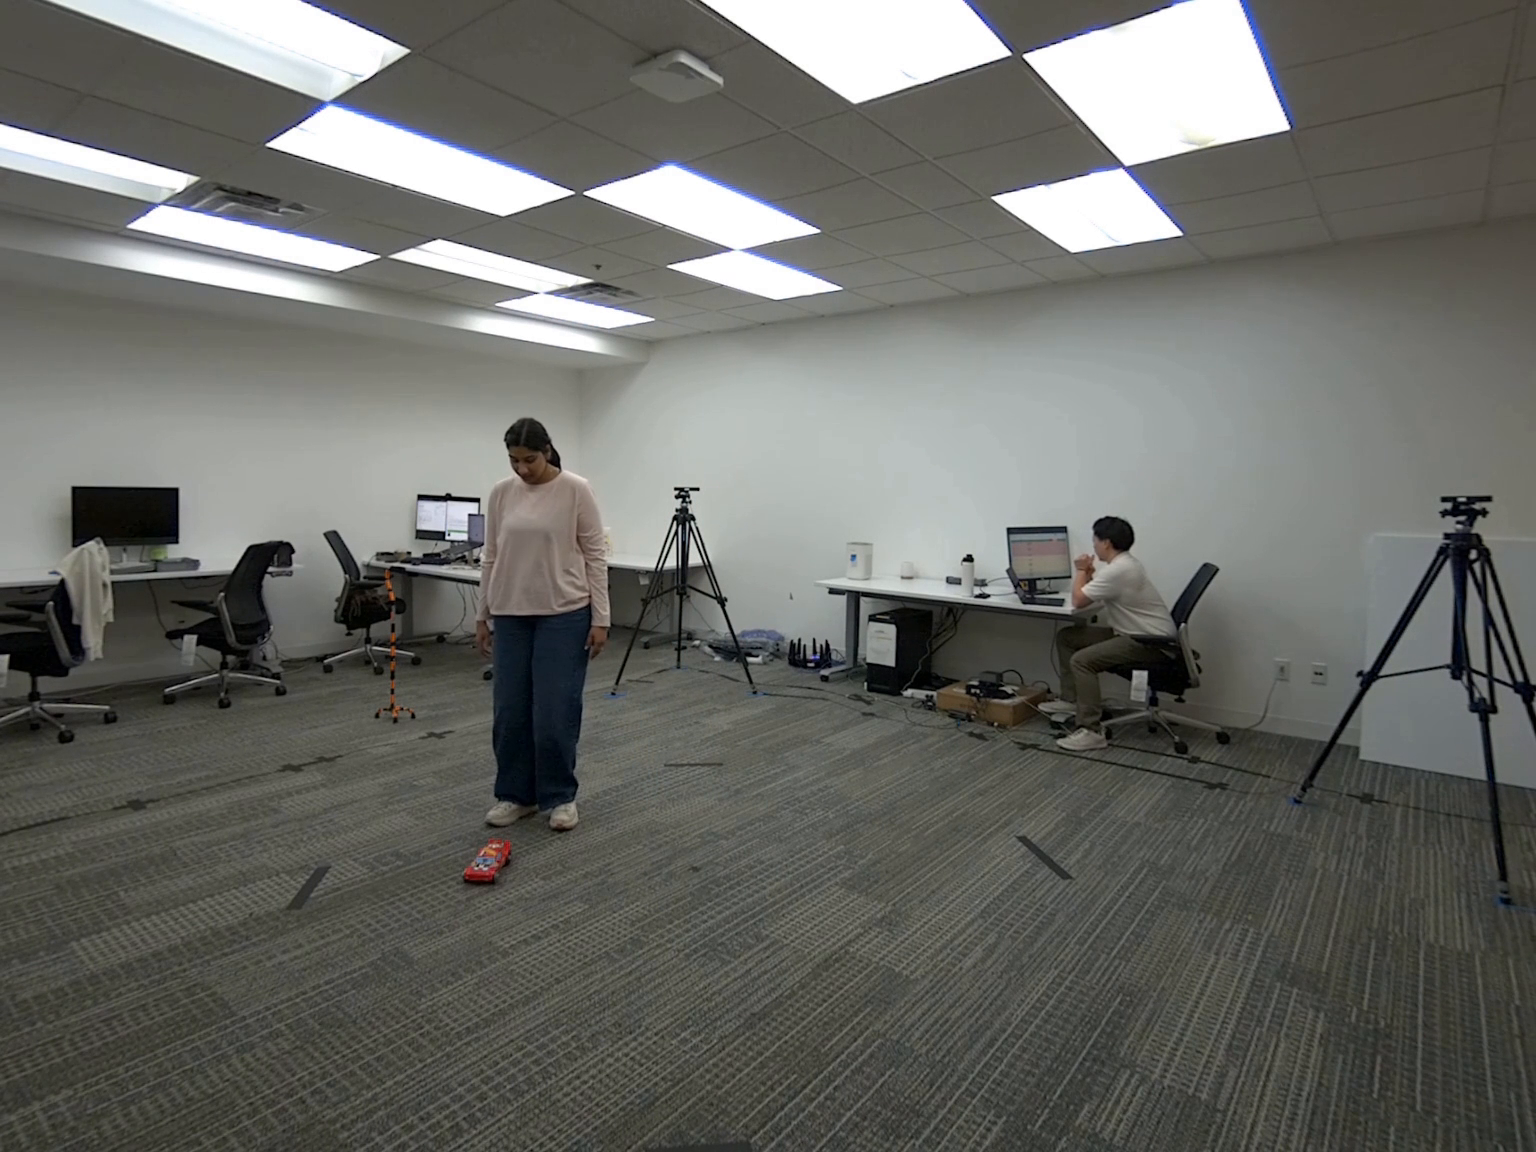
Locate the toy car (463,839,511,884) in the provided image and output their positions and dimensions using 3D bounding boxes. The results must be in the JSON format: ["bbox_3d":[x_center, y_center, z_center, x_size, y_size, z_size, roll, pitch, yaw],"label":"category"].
[{"bbox_3d":[-1.018,1.029,3.066,0.131,0.082,0.258,1,18,1],"label":"toy car"}]
